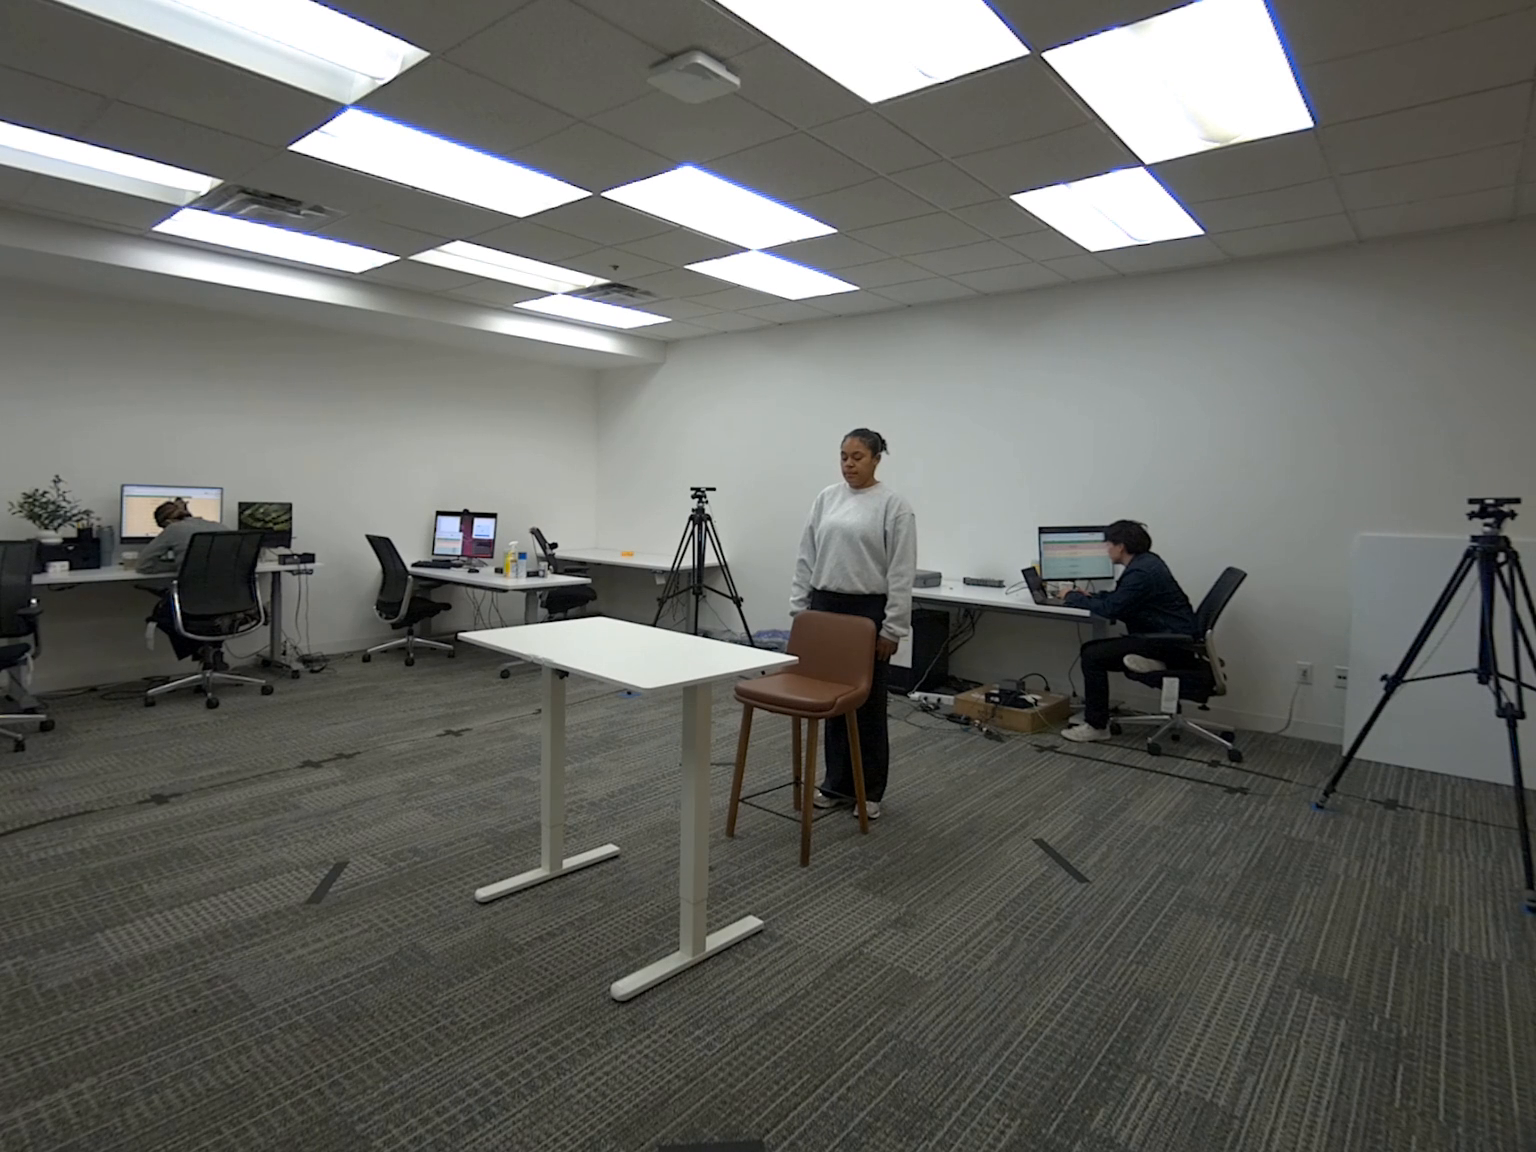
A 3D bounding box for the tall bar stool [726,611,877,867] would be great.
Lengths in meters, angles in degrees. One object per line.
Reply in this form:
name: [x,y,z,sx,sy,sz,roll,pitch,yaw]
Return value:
tall bar stool: [0.131,0.602,3.420,0.472,0.888,0.453,4,2,42]
